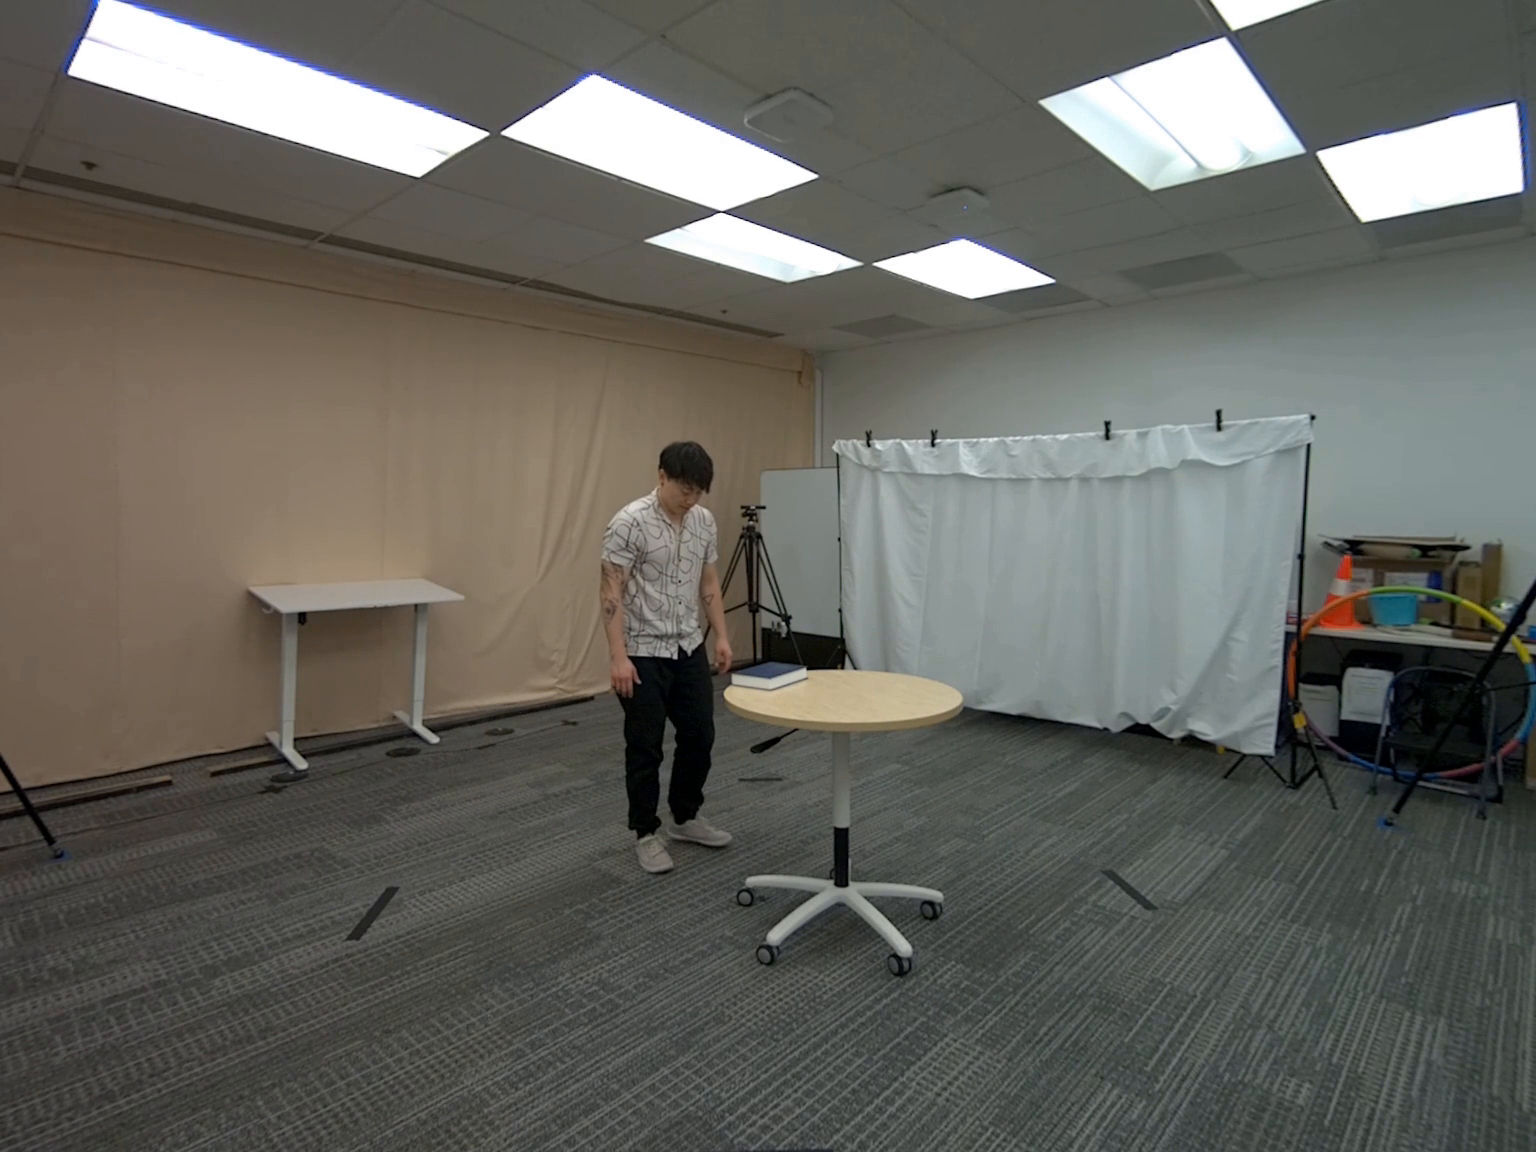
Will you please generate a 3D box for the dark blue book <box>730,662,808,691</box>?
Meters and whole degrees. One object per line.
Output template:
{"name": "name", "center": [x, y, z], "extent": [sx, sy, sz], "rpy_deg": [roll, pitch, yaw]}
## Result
{"name": "dark blue book", "center": [0.008, 0.348, 2.933], "extent": [0.168, 0.045, 0.238], "rpy_deg": [2, 5, 35]}
